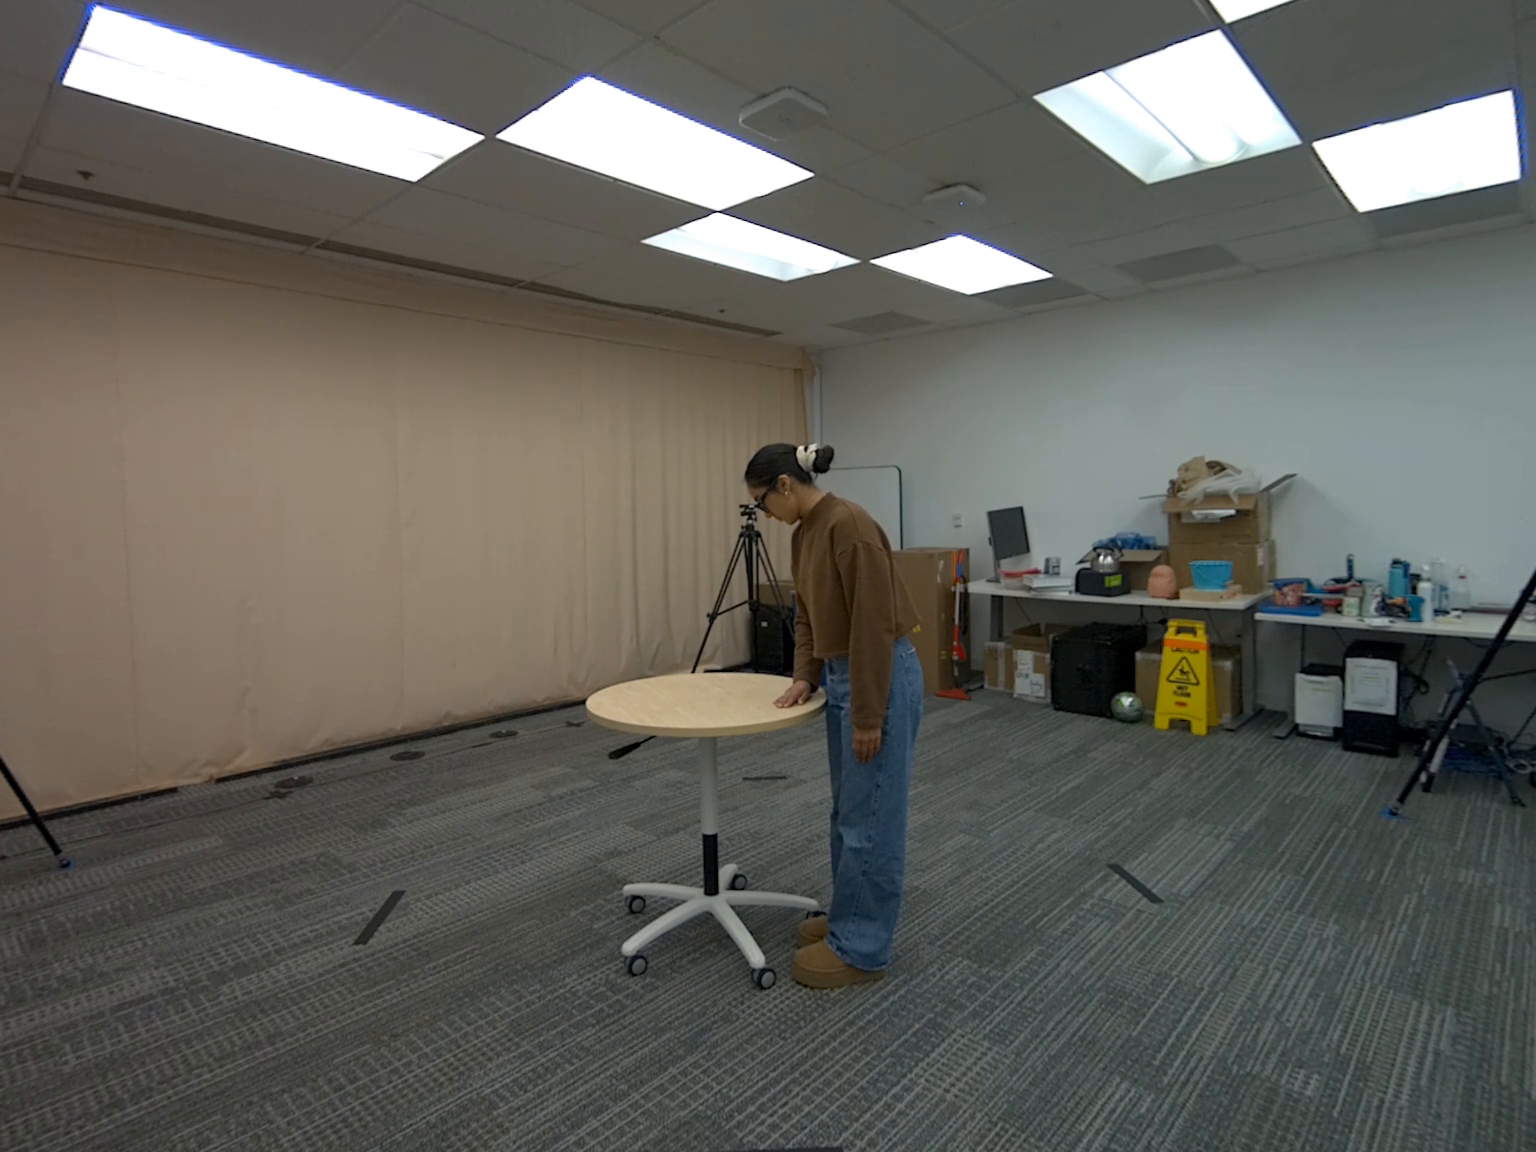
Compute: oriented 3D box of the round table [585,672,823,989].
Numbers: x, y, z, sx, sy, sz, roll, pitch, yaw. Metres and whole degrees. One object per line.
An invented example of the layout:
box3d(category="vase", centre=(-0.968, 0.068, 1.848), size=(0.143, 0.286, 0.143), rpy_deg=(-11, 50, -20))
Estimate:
box3d(category="round table", centre=(-0.187, 0.782, 2.710), size=(0.763, 0.792, 0.767), rpy_deg=(-1, 4, -2))
